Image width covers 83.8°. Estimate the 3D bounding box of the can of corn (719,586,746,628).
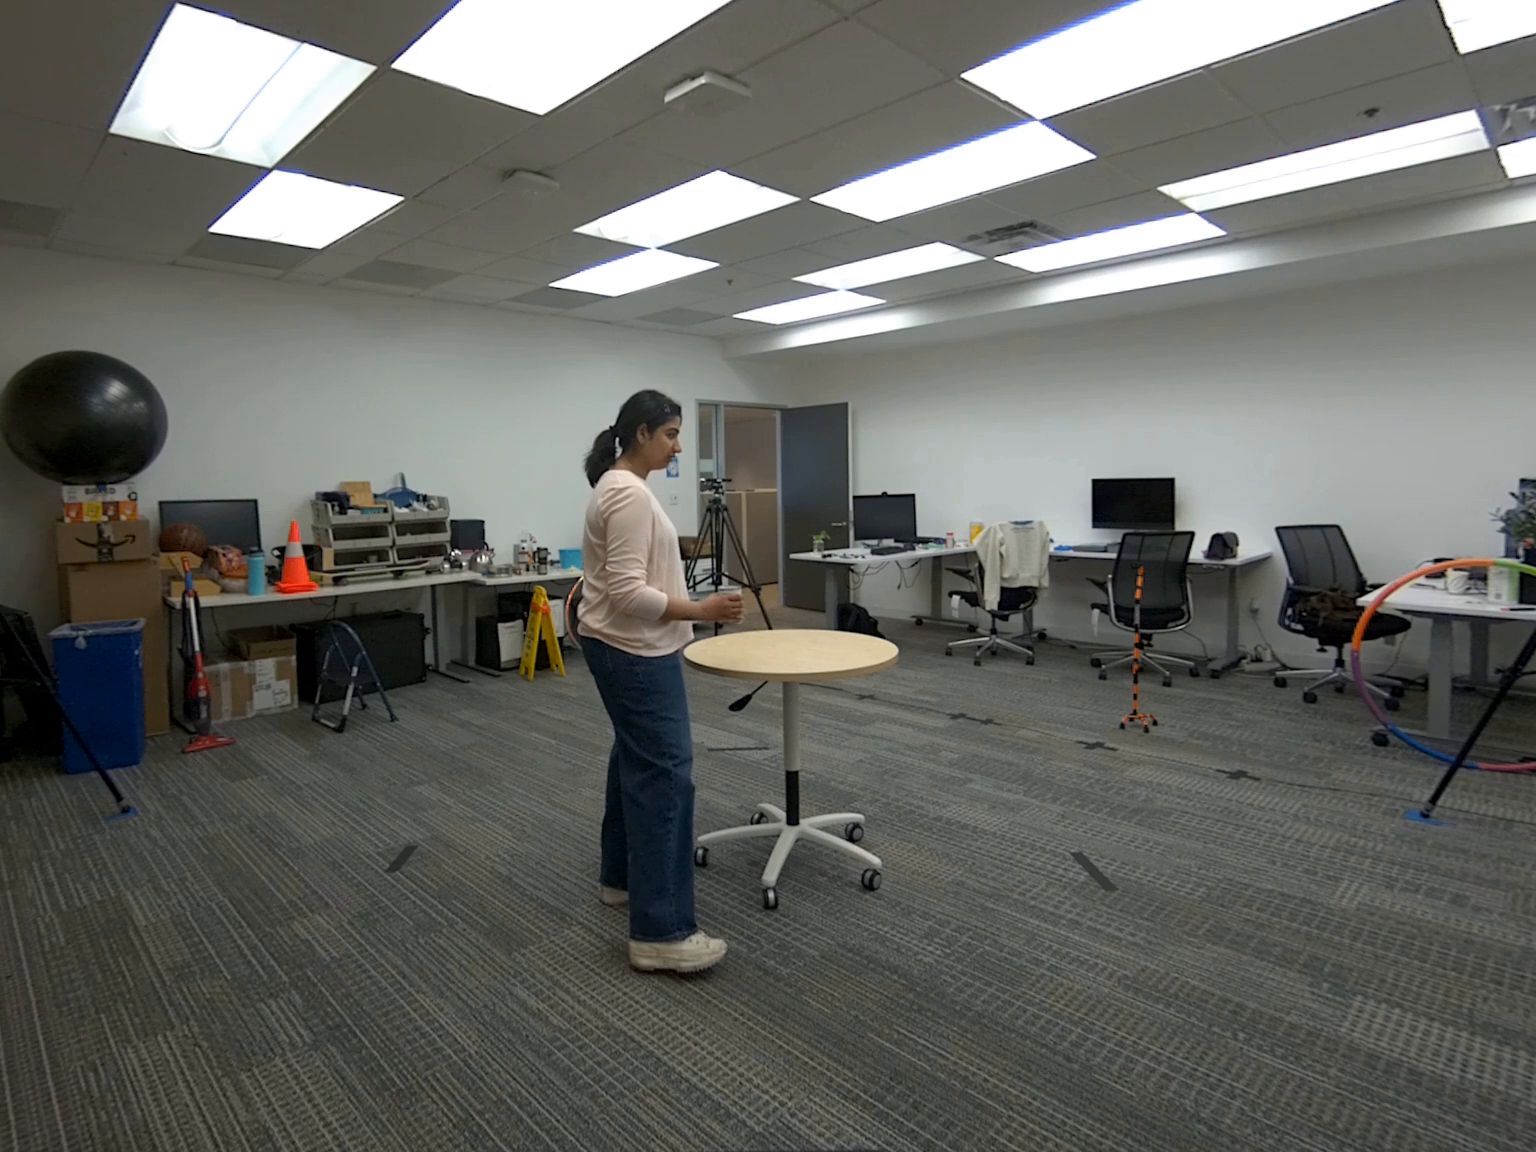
[{"bbox_3d":[-0.112,0.095,2.660,0.074,0.110,0.075,-1,10,-1],"label":"can of corn"}]
